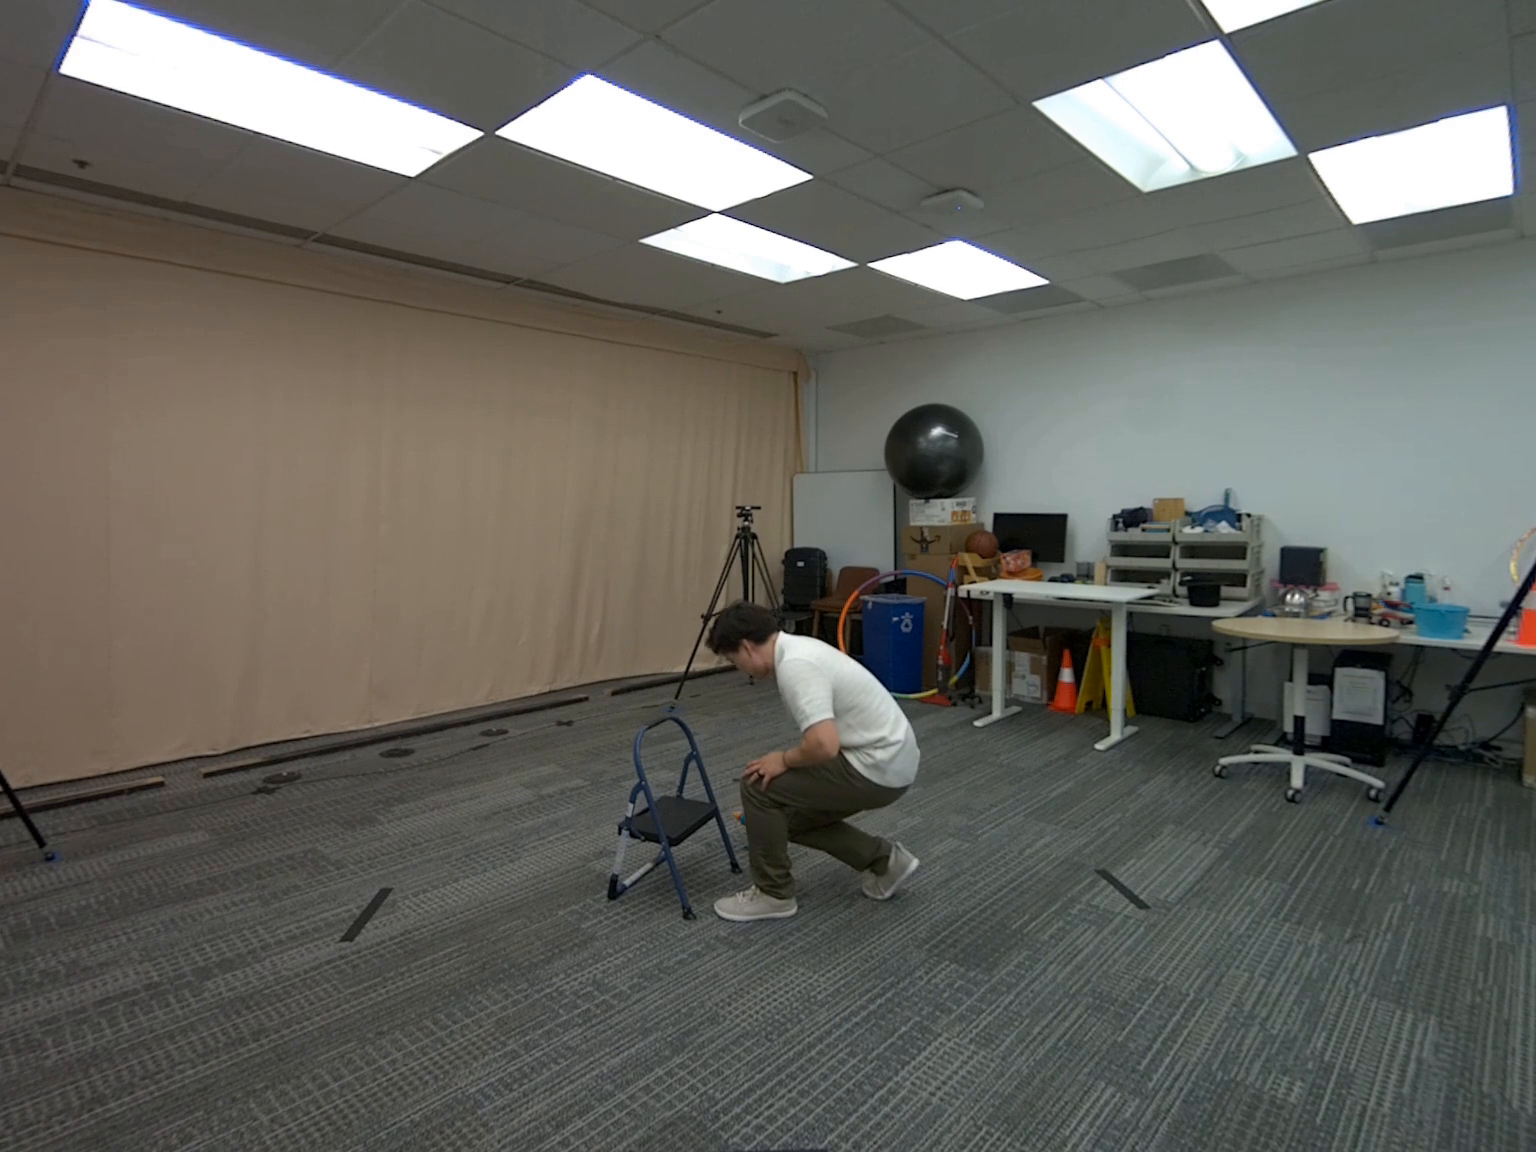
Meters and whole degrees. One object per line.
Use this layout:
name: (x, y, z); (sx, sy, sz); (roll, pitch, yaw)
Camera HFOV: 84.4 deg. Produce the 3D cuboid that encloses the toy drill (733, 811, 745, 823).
toy drill: (-0.082, 1.034, 3.440); (0.059, 0.146, 0.175); (-3, 3, -45)
